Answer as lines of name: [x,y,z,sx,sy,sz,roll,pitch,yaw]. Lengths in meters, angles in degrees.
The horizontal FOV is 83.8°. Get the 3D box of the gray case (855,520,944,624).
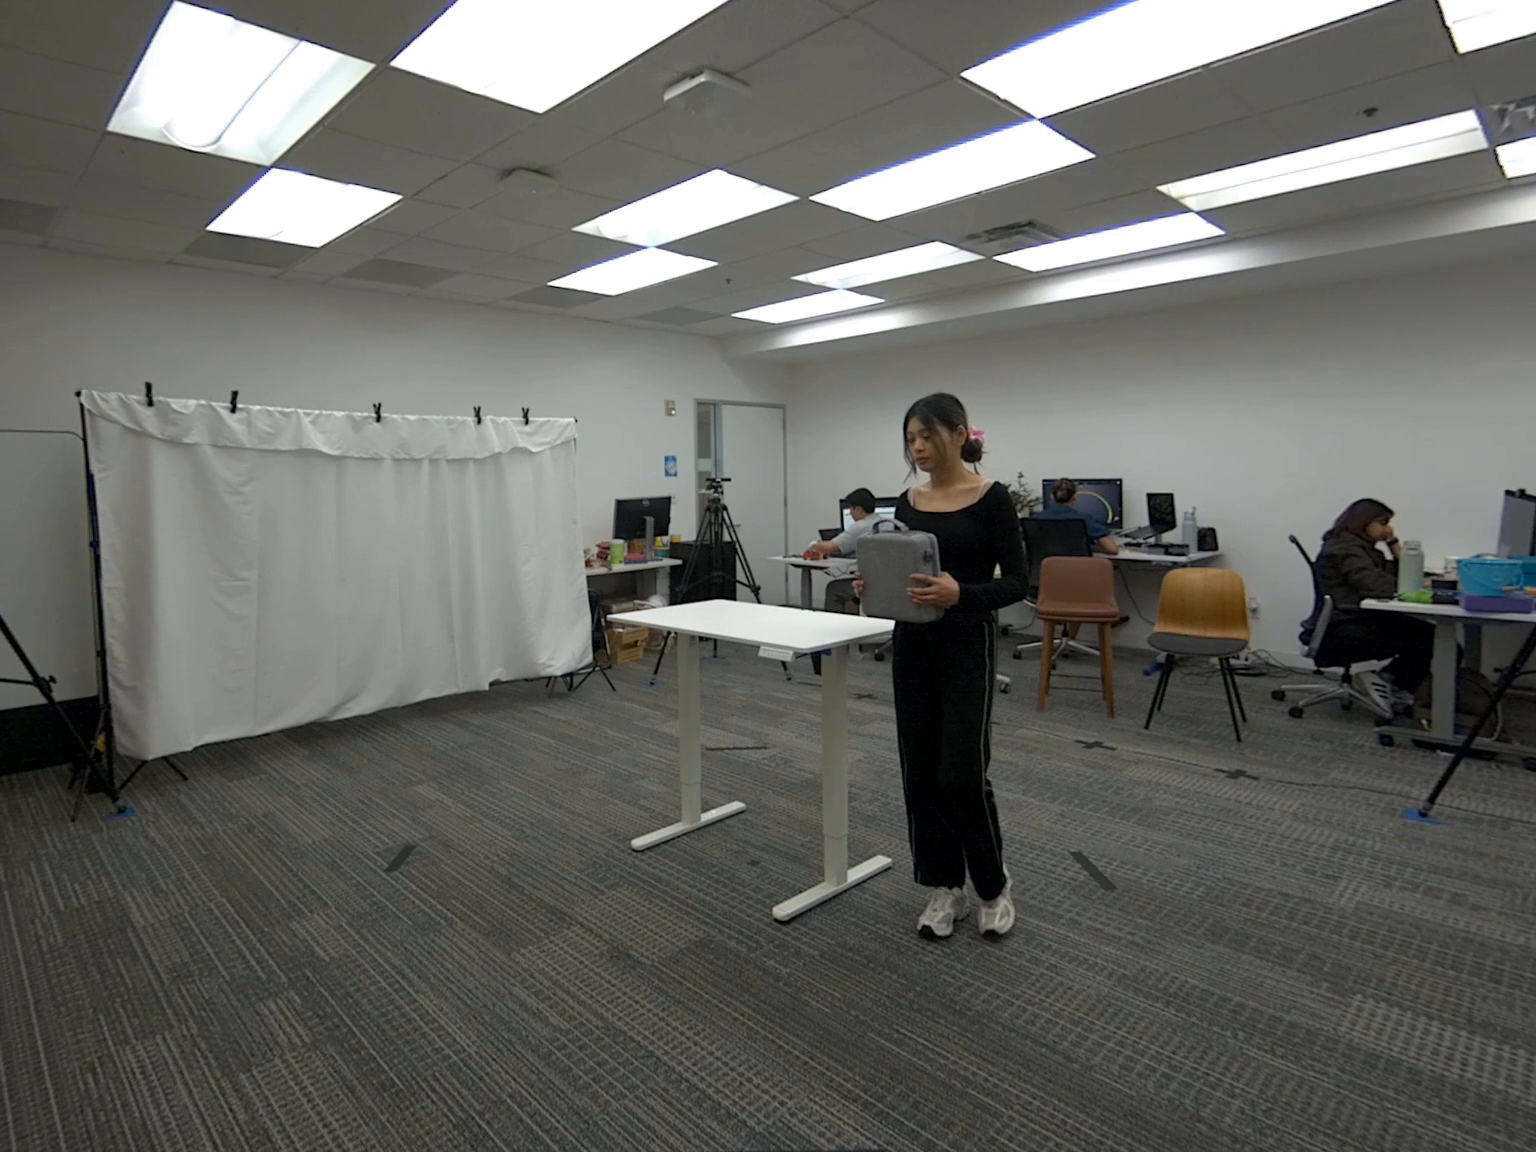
gray case: [0.389,-0.002,2.471,0.102,0.259,0.264,-10,7,-35]
